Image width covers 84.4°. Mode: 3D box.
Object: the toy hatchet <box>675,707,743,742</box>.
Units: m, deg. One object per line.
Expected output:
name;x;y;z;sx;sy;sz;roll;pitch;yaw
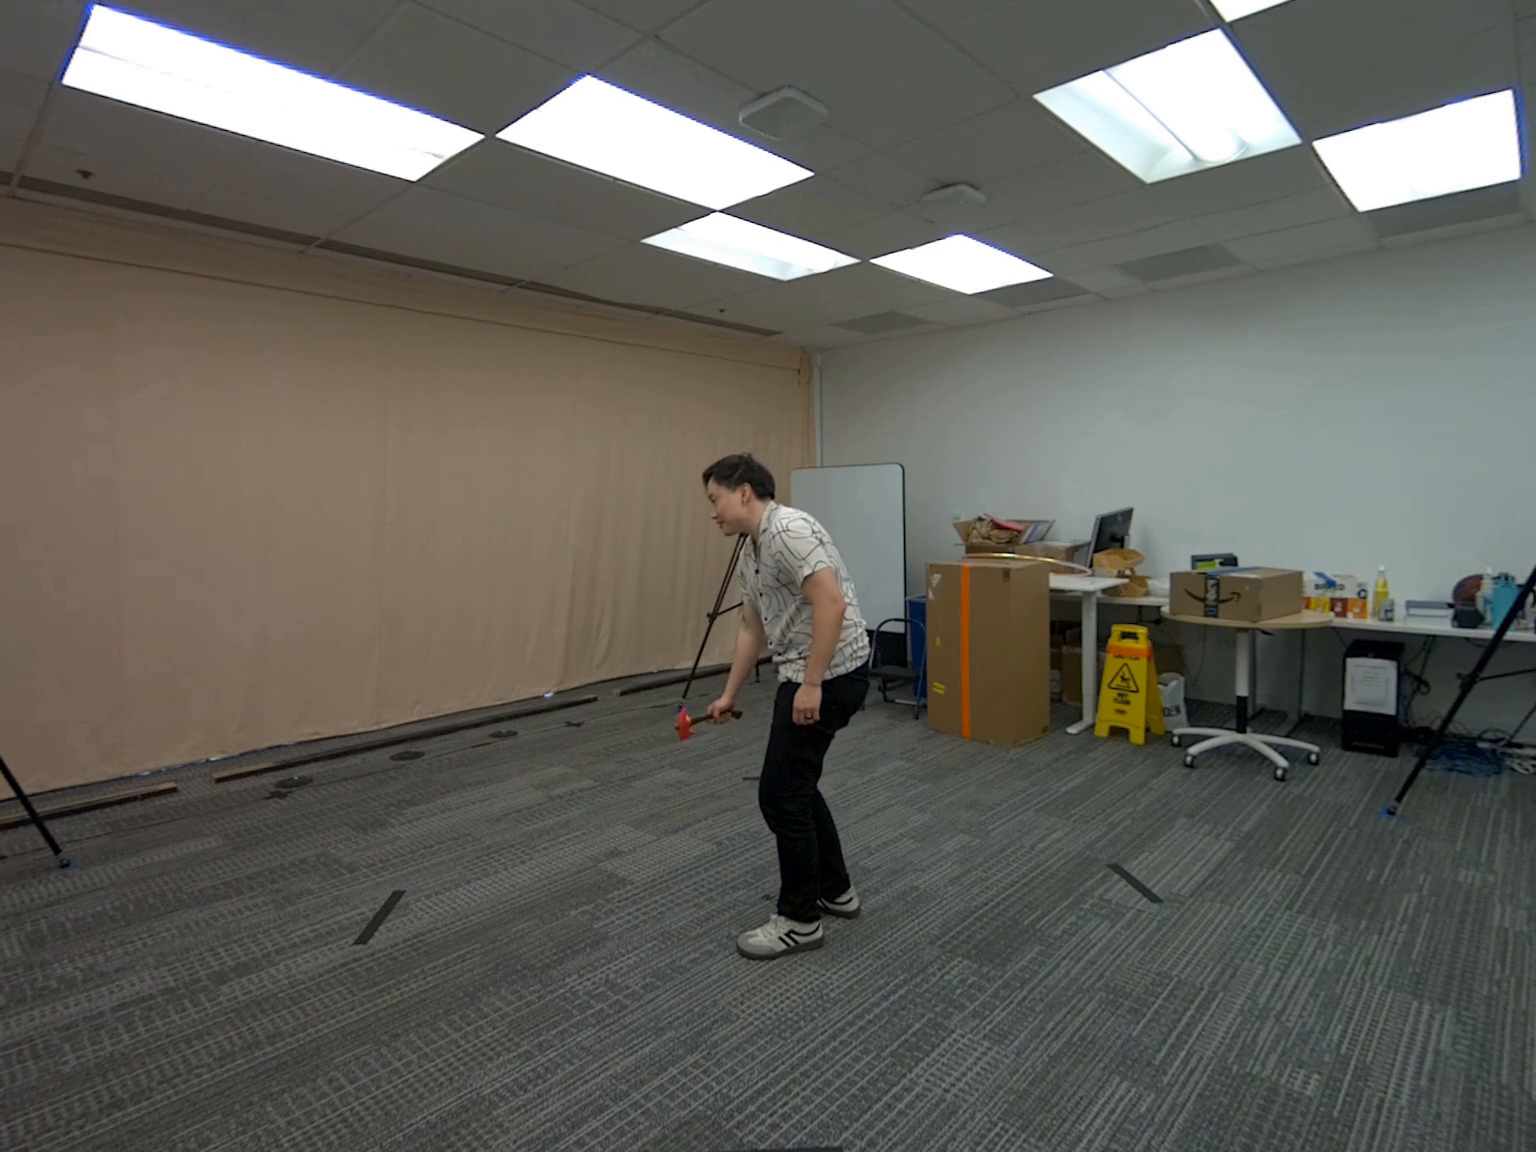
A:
toy hatchet;-0.203;0.526;2.922;0.261;0.130;0.030;10;21;-35
